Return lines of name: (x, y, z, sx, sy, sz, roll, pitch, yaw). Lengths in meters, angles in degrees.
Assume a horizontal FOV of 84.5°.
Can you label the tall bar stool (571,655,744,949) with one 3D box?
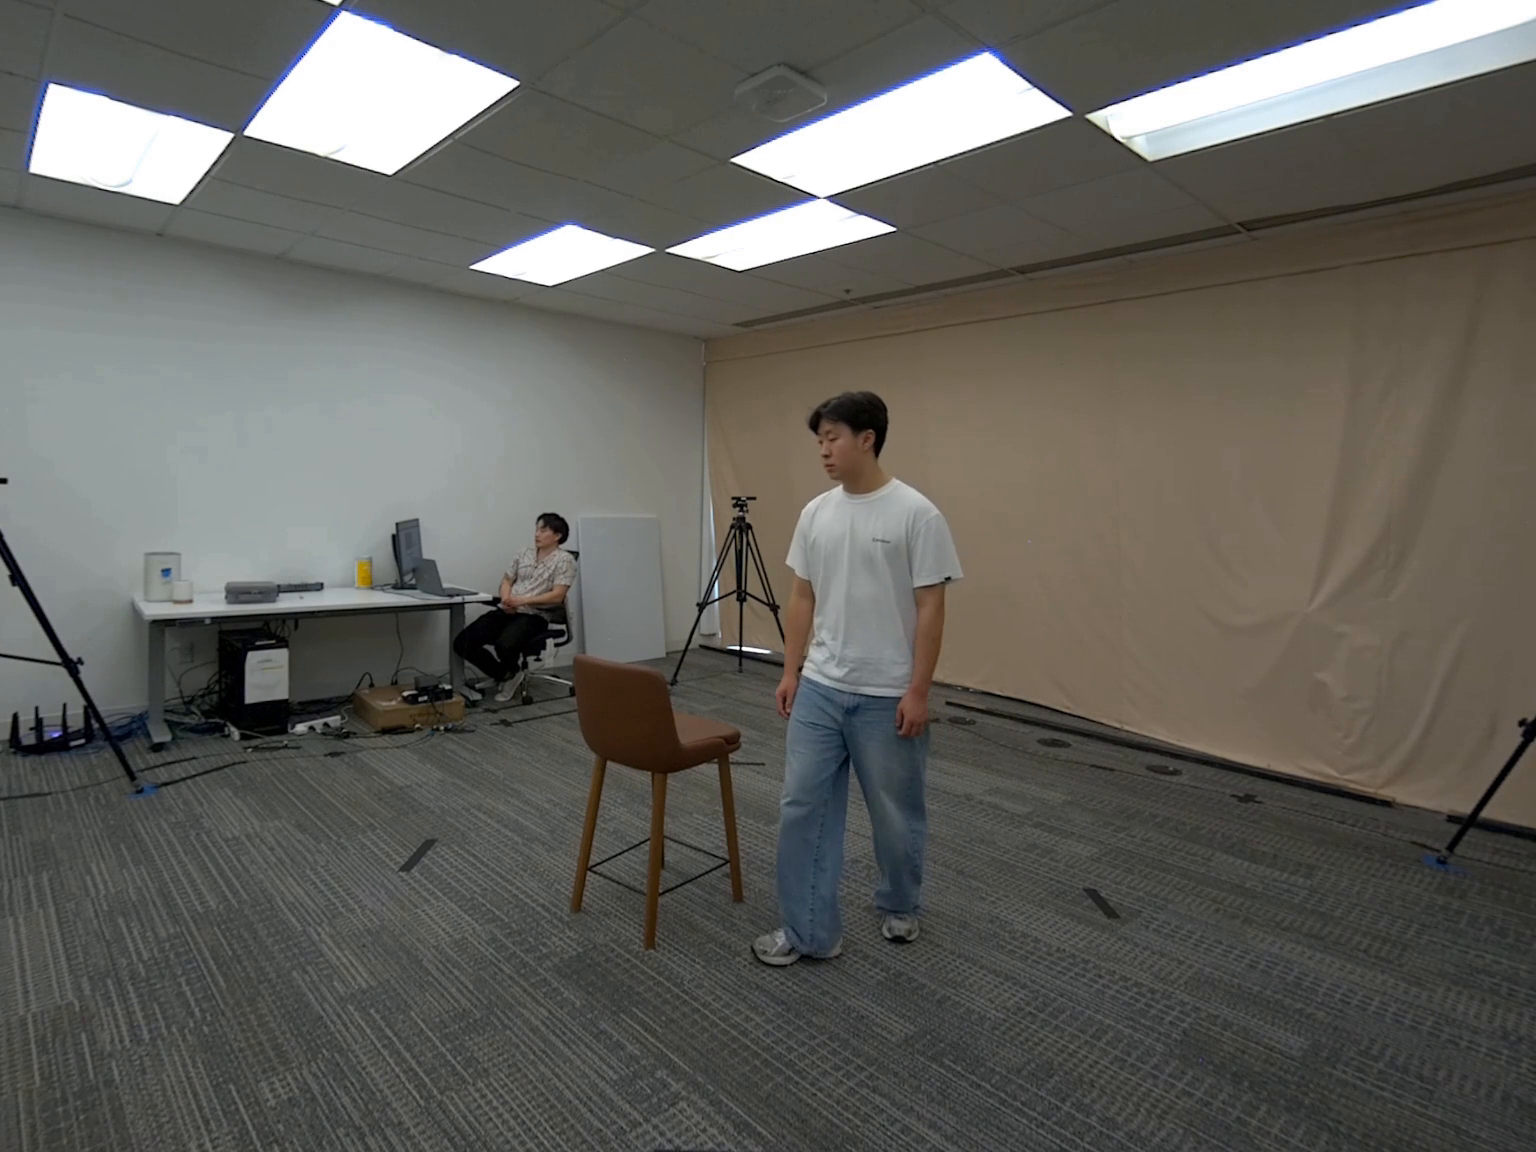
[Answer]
tall bar stool: (-0.382, 0.691, 2.847, 0.468, 0.886, 0.458, 4, 6, 38)
